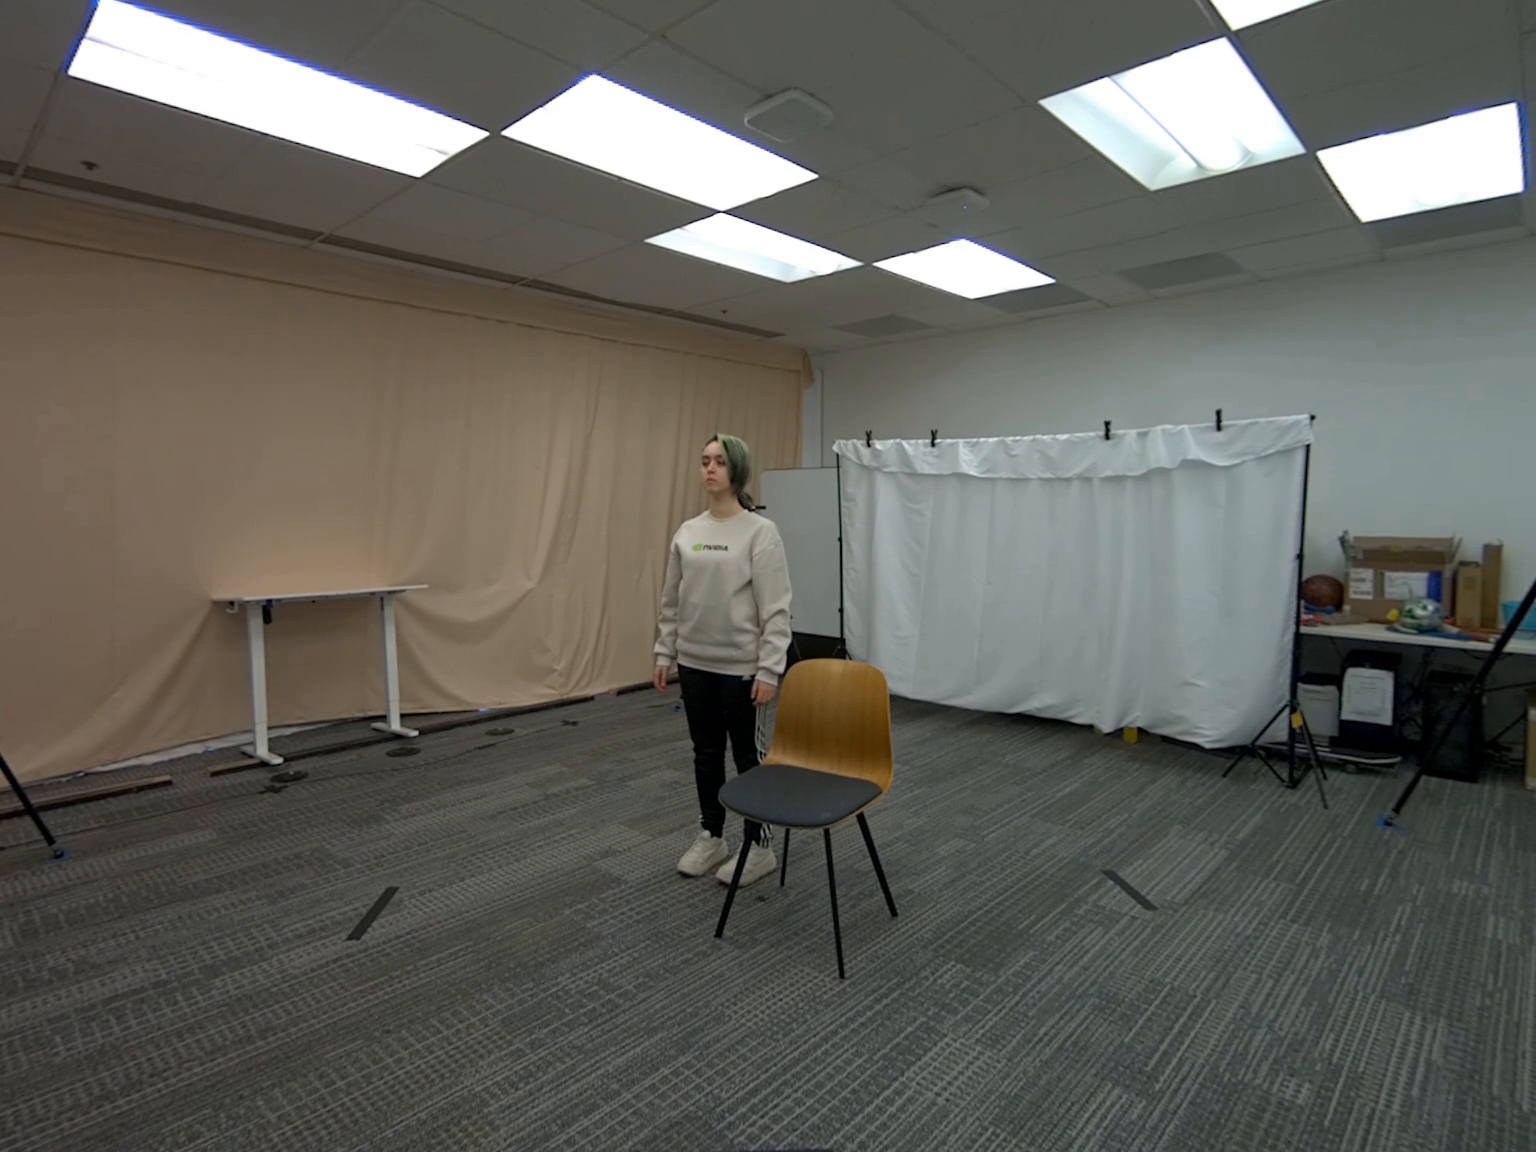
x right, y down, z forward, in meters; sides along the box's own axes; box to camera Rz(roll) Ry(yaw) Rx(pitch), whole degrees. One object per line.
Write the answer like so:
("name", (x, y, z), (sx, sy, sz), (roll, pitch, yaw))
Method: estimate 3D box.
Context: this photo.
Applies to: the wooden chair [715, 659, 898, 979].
("wooden chair", (0.137, 0.736, 2.745), (0.492, 0.877, 0.508), (2, 0, 31))
